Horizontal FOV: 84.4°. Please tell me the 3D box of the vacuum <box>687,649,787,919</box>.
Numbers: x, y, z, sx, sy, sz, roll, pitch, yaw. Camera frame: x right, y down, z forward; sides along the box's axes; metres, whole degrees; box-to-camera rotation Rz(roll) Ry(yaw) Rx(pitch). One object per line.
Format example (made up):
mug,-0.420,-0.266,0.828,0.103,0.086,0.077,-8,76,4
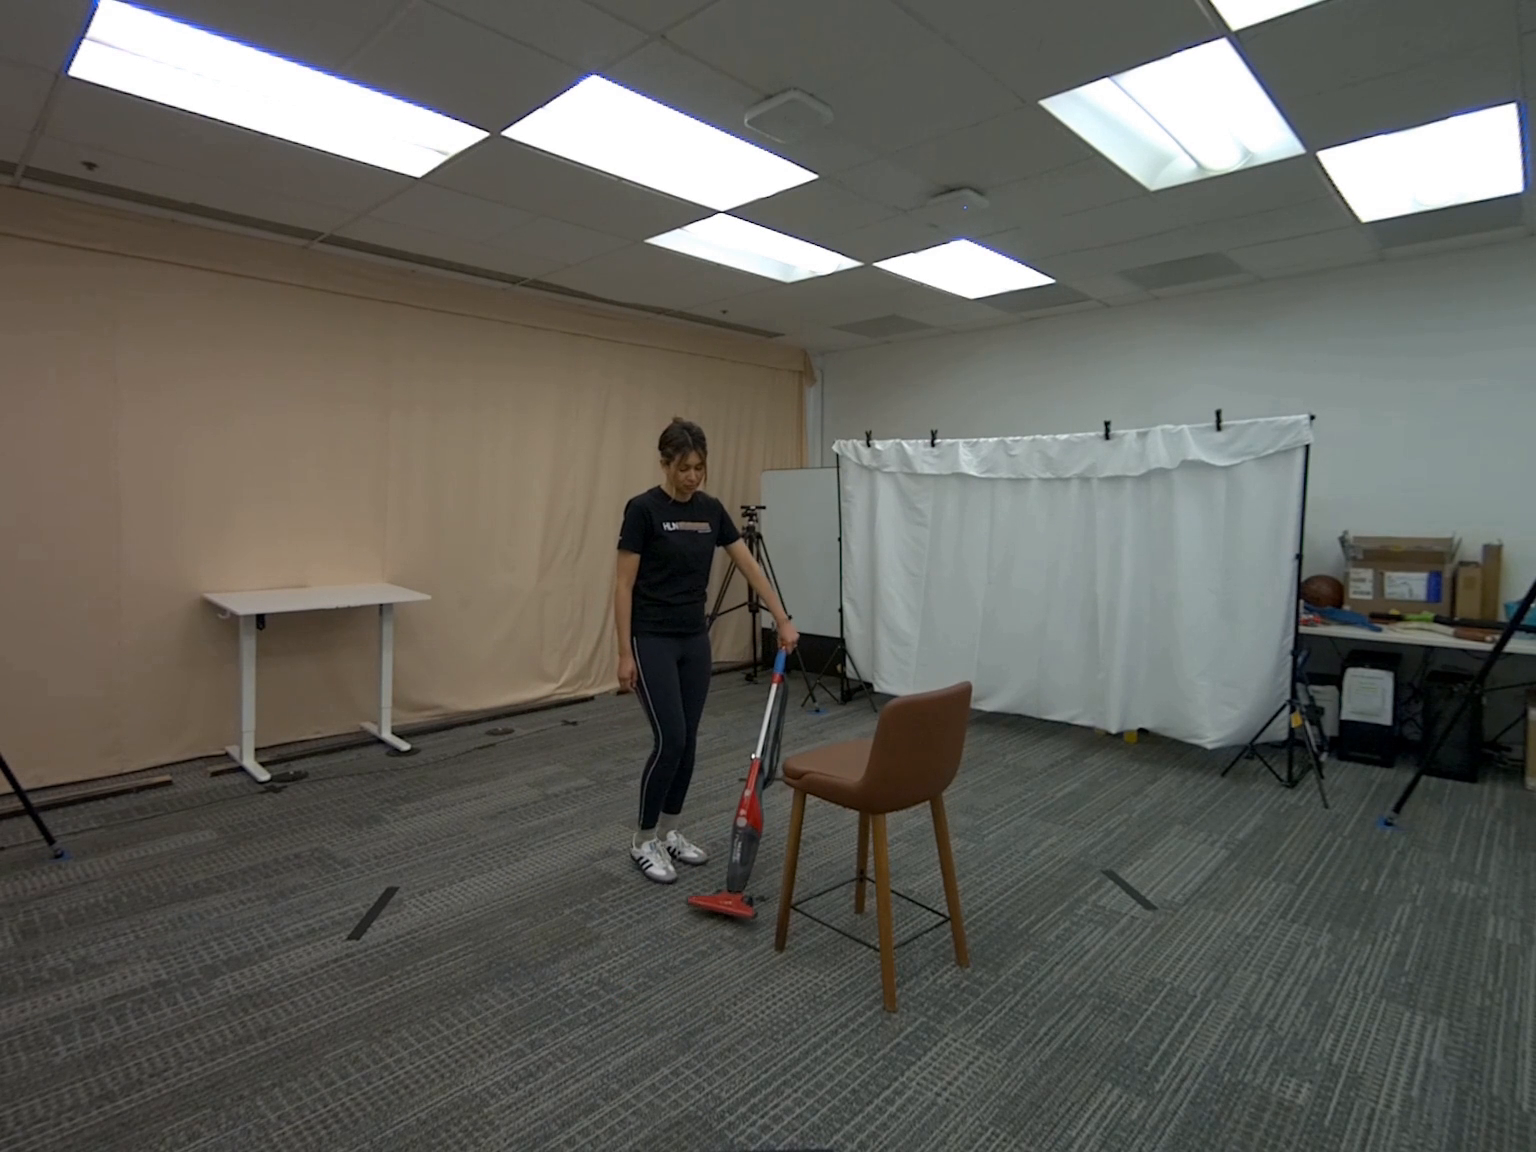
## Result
vacuum,-0.016,0.695,3.118,0.259,1.056,0.139,0,-33,27
